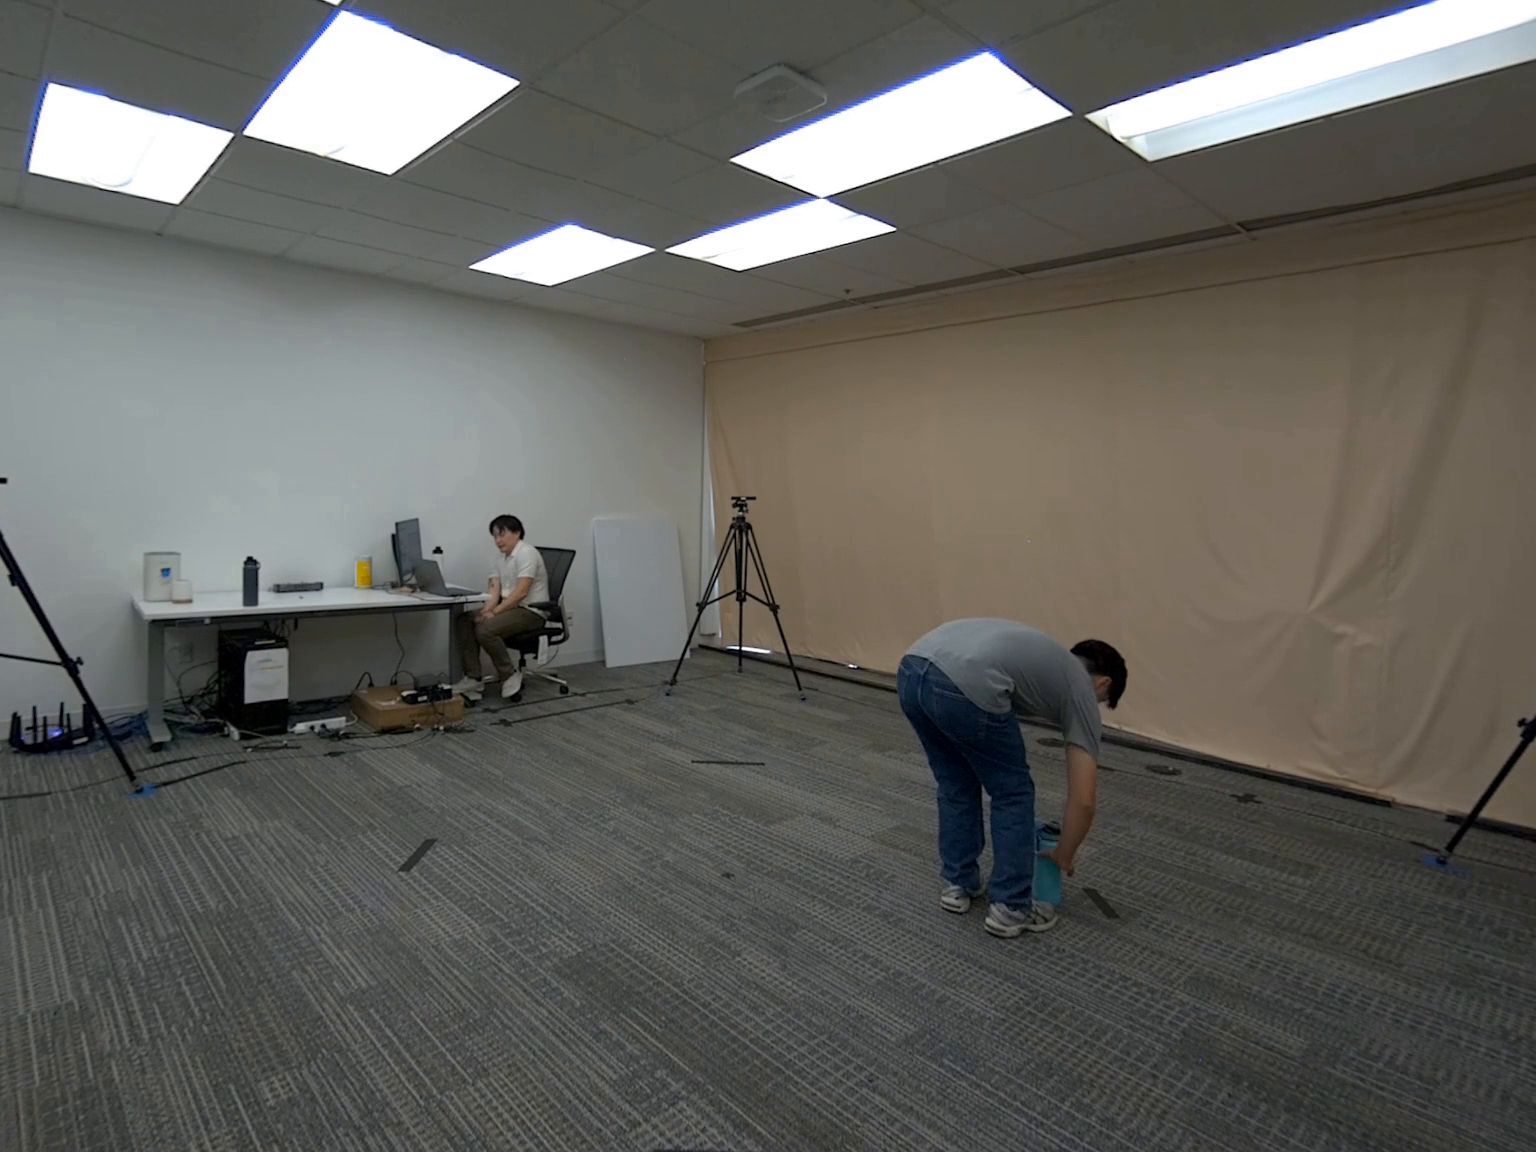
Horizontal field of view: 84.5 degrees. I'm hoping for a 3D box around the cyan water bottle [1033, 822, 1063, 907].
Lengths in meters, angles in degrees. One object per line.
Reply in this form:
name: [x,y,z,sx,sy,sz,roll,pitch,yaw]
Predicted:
cyan water bottle: [0.982,1.012,2.978,0.092,0.283,0.092,2,1,-1]
